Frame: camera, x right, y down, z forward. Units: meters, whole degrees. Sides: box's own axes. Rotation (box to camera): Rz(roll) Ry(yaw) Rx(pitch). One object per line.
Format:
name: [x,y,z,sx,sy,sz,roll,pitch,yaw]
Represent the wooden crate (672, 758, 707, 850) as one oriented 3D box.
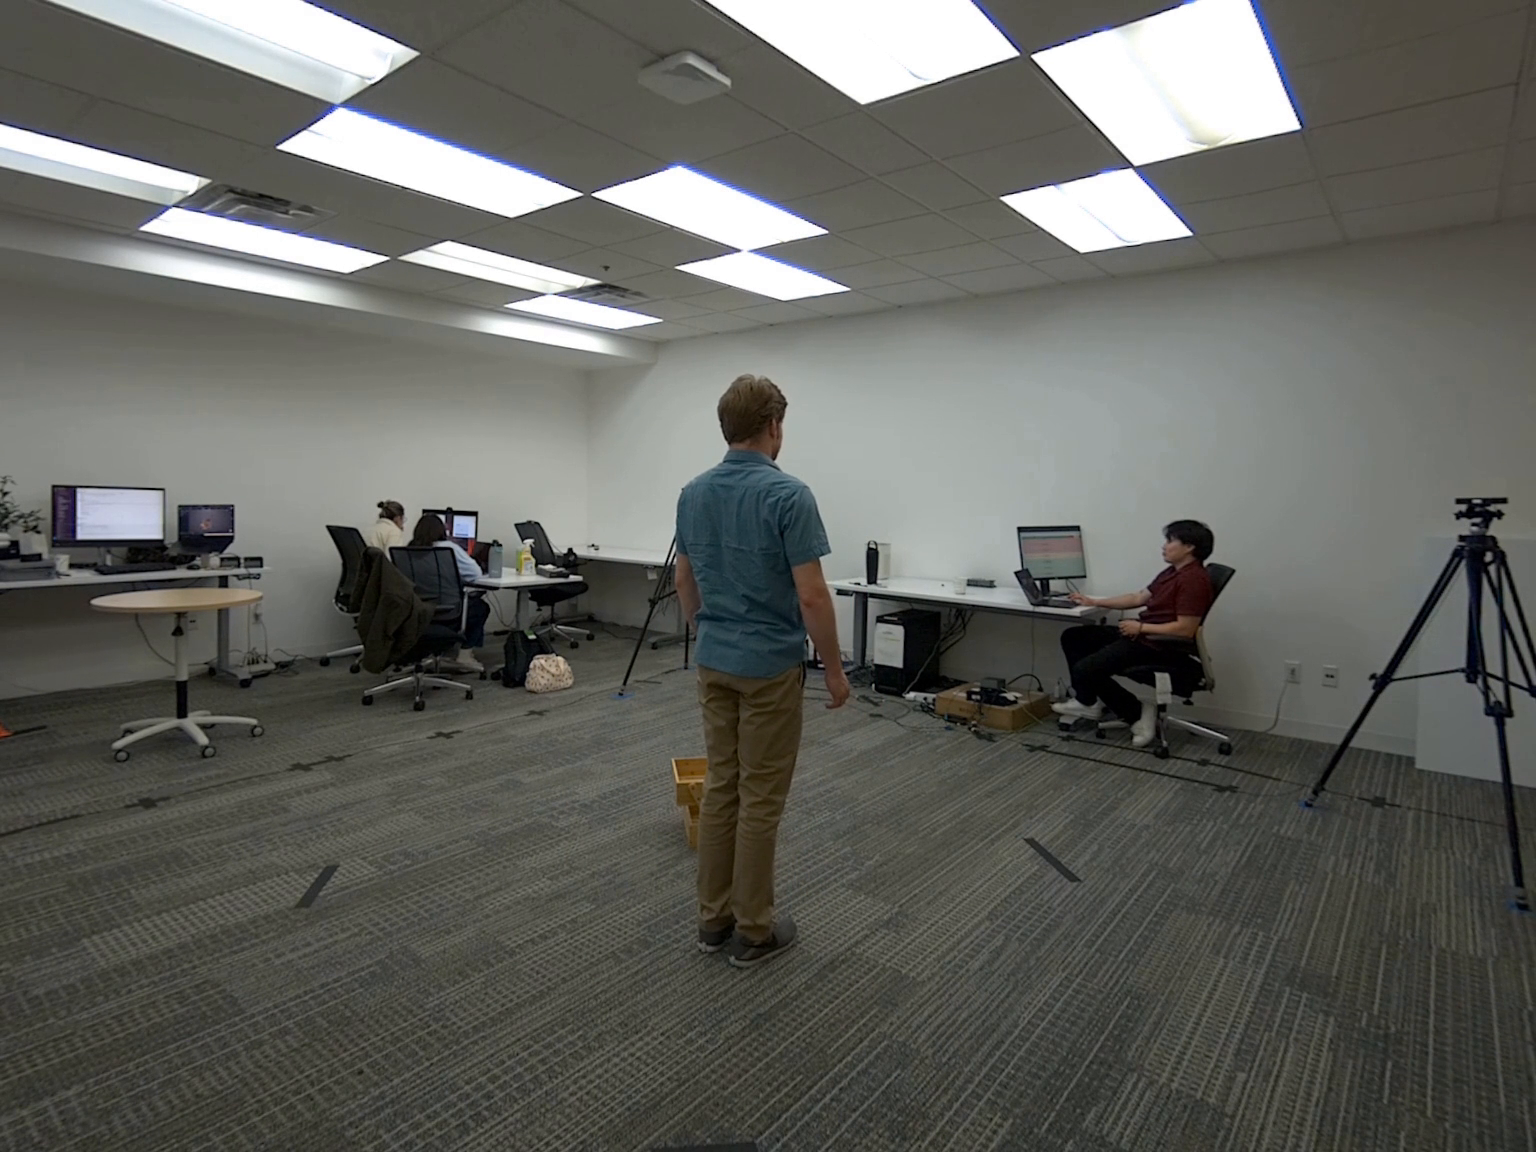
wooden crate: [-0.238,0.899,3.448,0.299,0.272,0.329,-1,5,-10]
